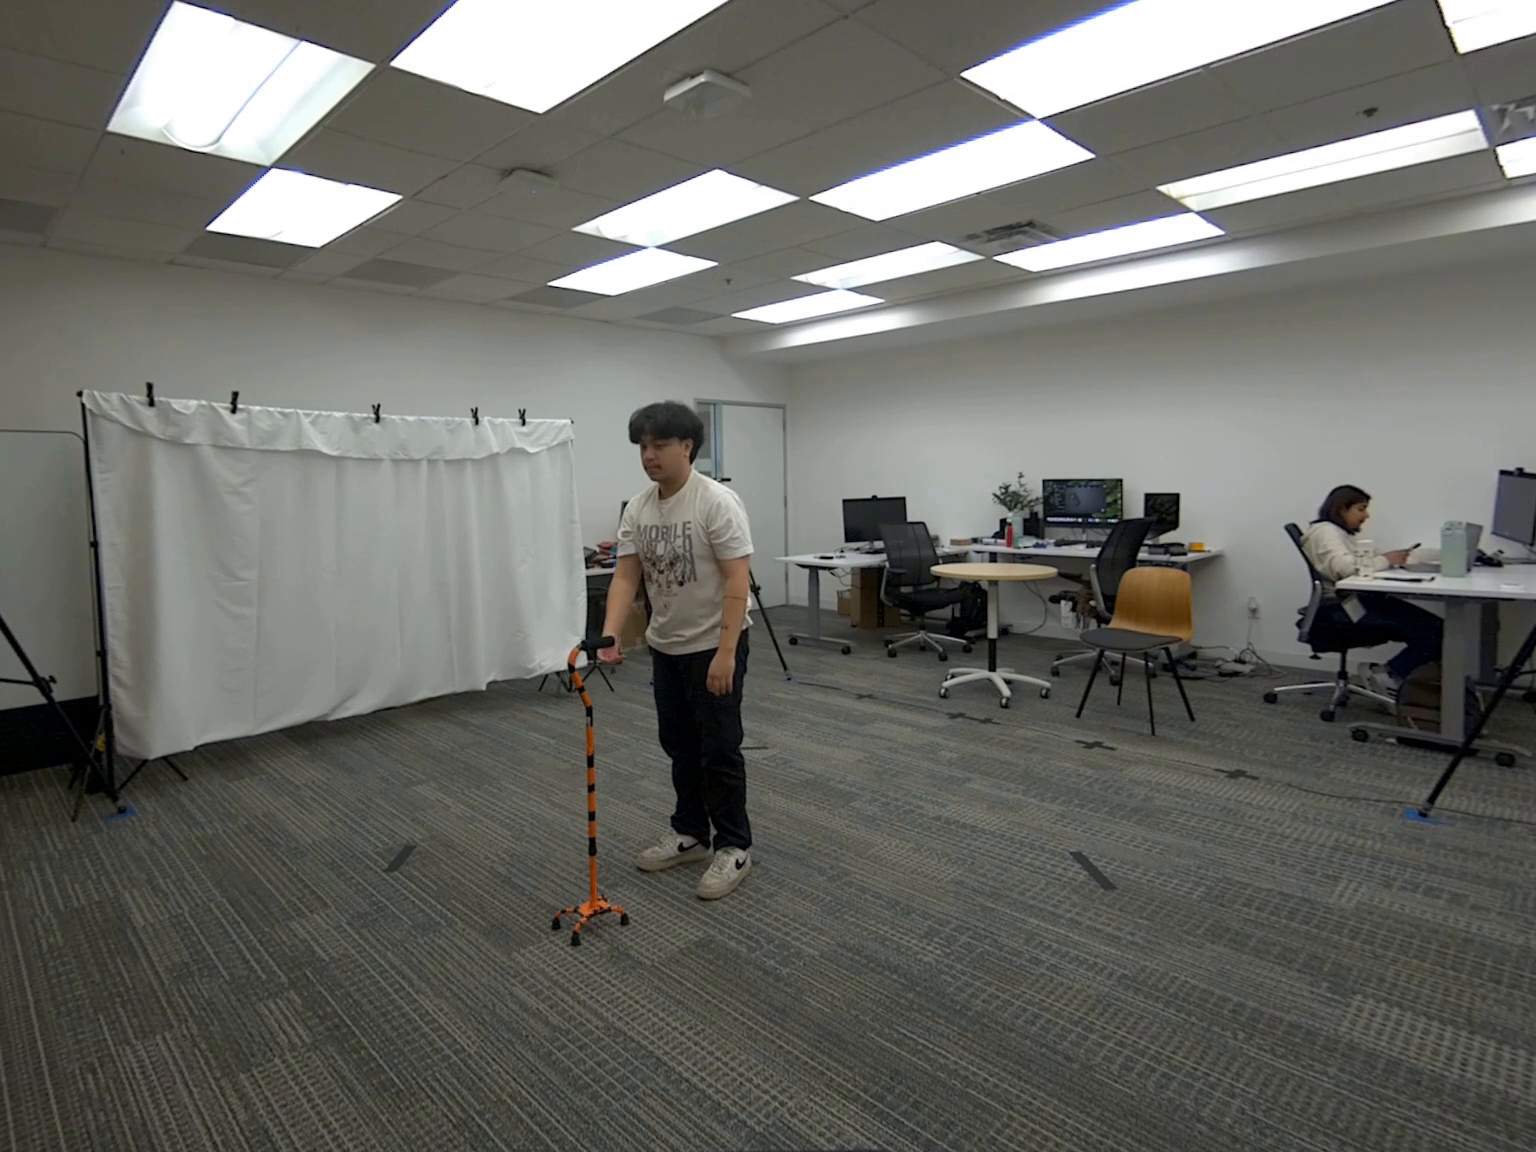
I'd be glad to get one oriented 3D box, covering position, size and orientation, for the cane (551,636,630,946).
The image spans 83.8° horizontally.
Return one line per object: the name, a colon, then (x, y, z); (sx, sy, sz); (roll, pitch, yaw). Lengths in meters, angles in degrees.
cane: (-0.561, 0.652, 2.656); (0.201, 0.904, 0.156); (-5, 6, -43)
